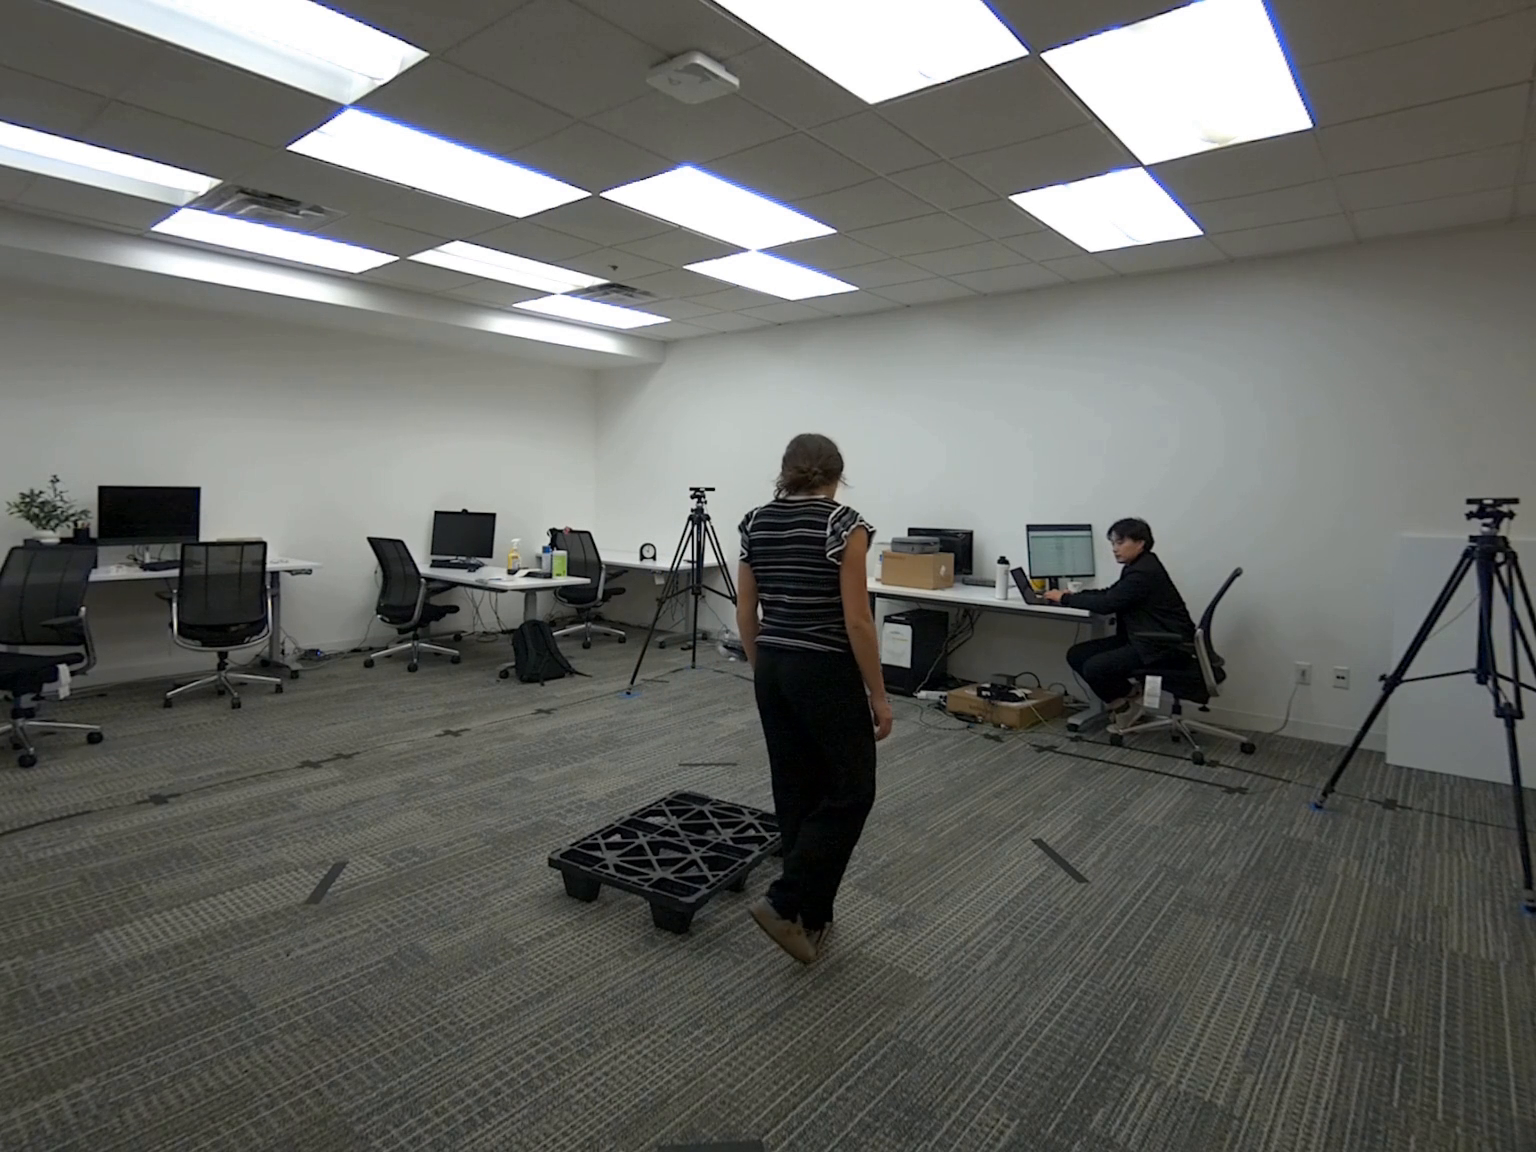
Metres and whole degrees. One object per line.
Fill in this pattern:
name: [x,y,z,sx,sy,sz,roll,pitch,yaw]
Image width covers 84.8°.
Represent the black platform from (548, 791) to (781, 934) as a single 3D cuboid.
black platform: [-0.319,1.001,3.064,0.623,0.143,0.785,3,6,30]
